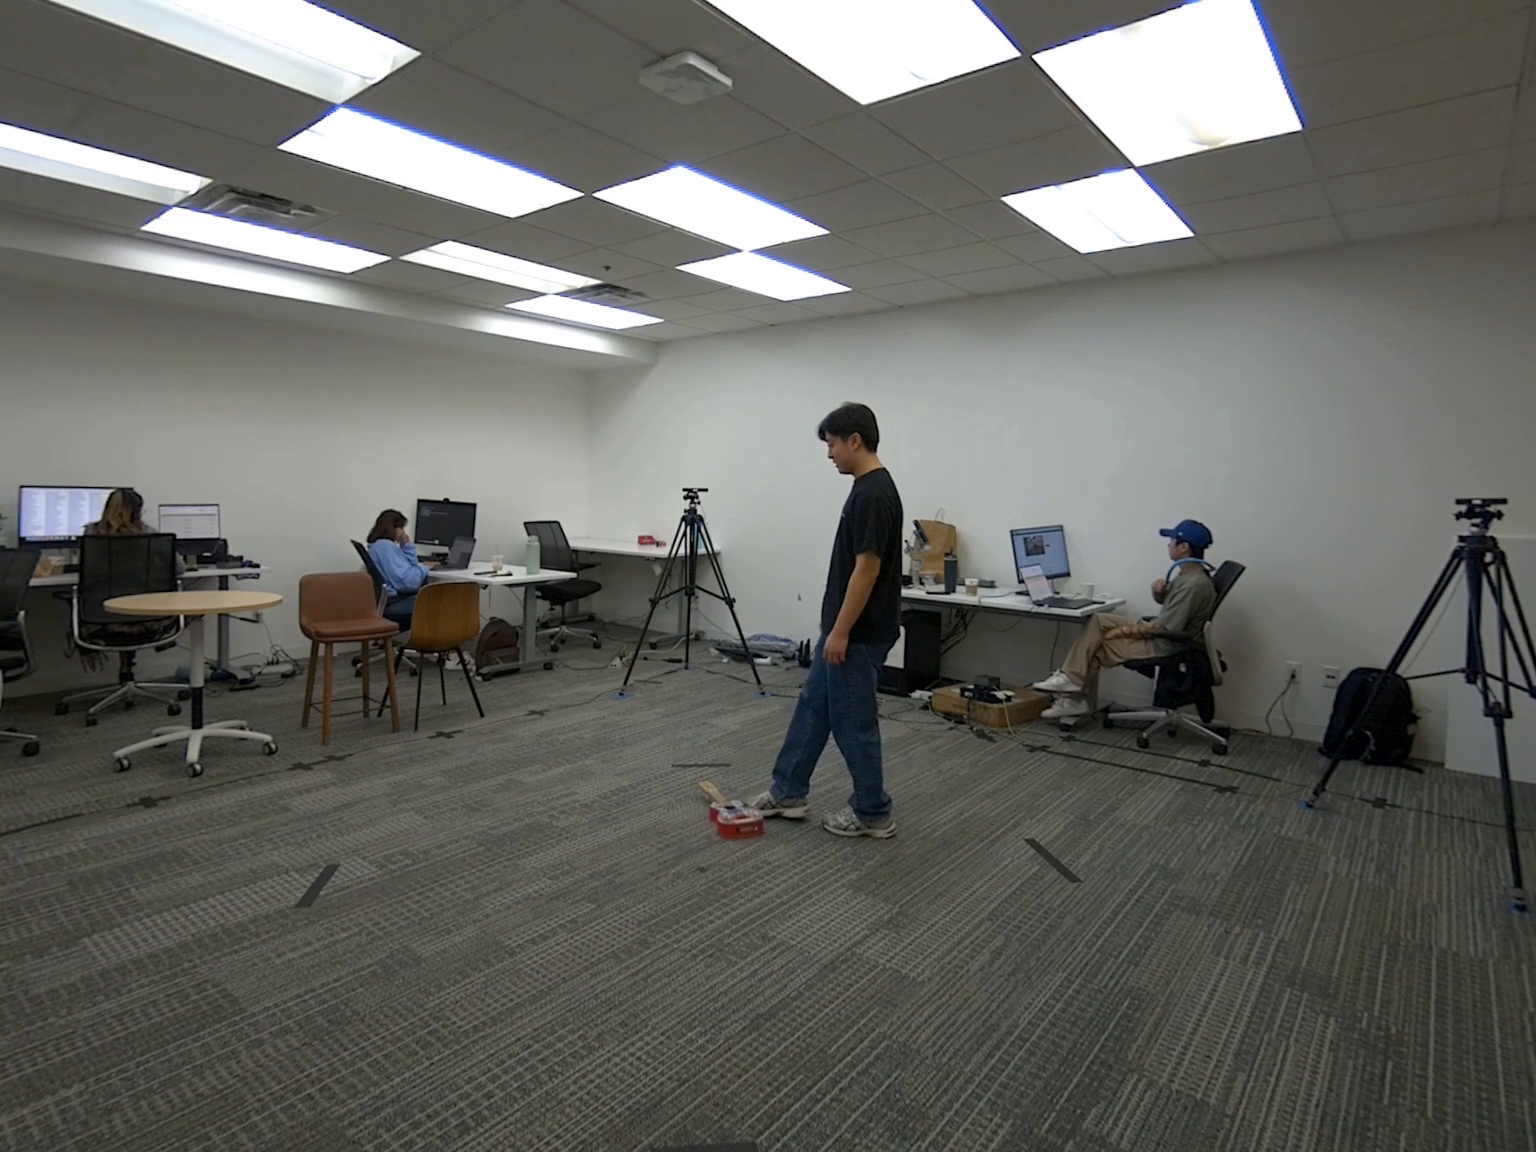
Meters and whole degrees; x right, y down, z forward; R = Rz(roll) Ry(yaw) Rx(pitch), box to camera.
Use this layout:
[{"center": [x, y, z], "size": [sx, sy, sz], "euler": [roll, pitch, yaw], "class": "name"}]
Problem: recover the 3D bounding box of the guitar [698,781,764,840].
[{"center": [-0.175, 0.986, 3.645], "size": [0.190, 0.070, 0.508], "euler": [-1, 7, -16], "class": "guitar"}]
